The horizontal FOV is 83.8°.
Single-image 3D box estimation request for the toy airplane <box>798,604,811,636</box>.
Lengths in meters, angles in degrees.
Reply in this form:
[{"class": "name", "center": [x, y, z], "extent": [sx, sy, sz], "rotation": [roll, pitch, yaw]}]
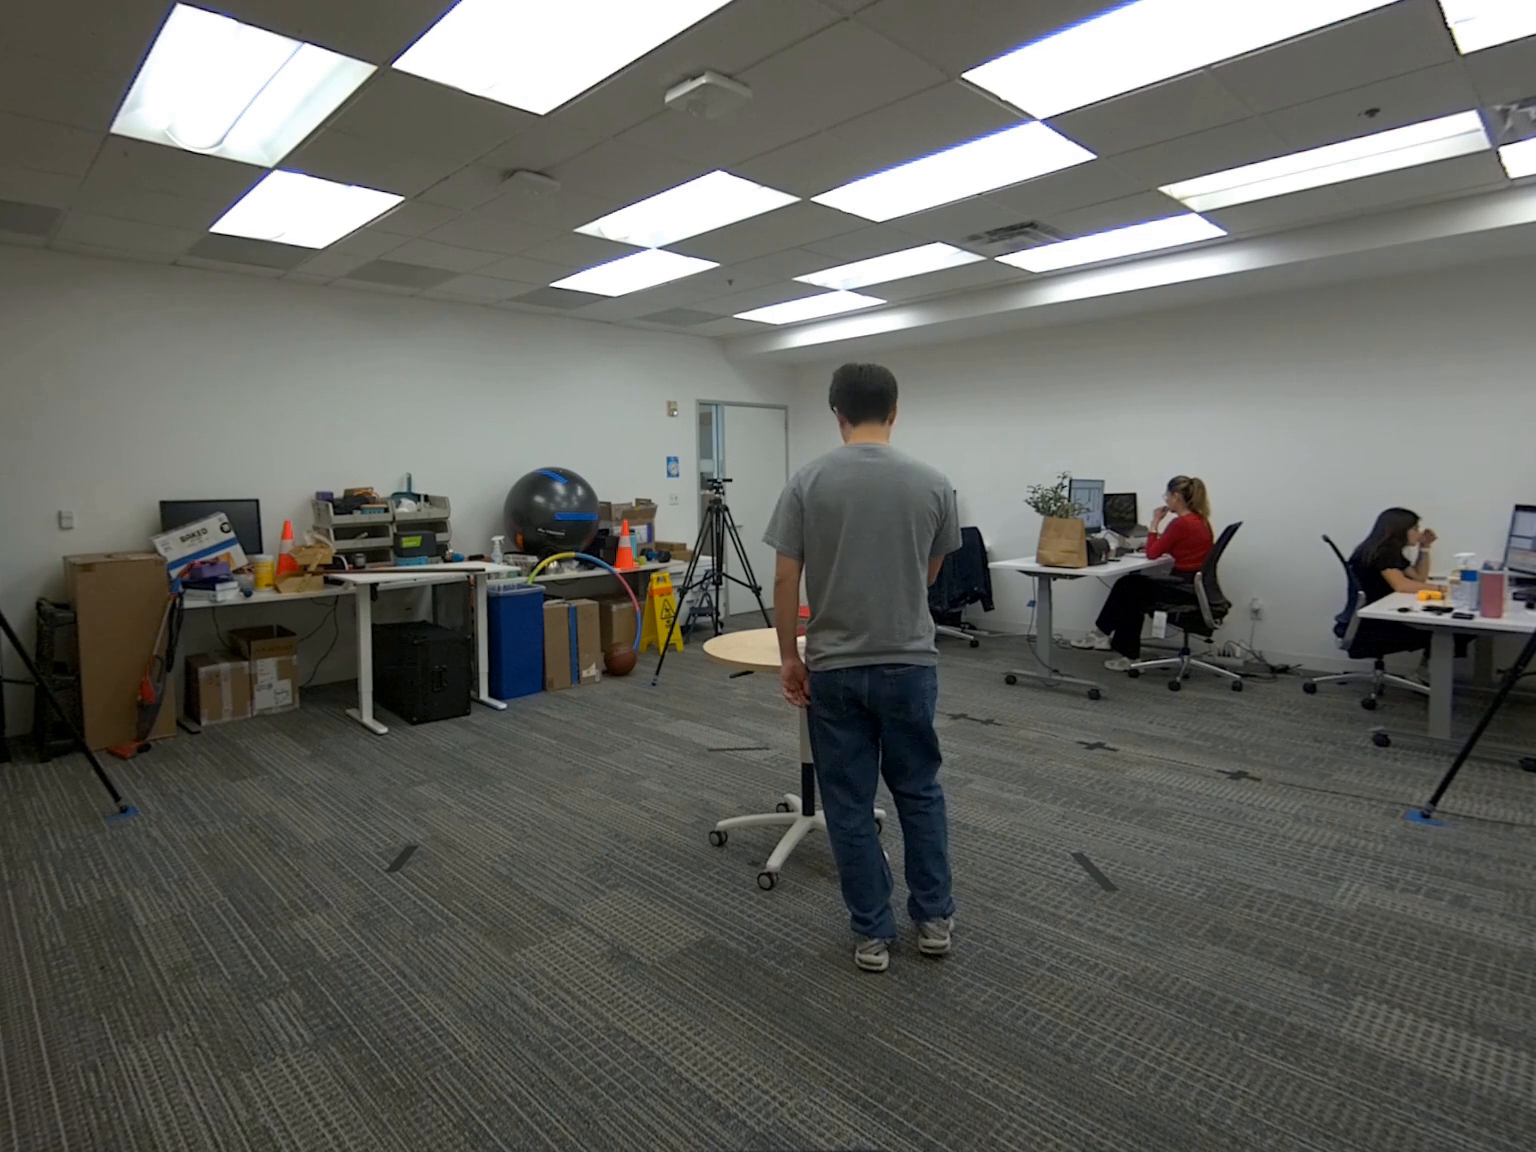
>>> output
[{"class": "toy airplane", "center": [0.216, 0.189, 3.006], "extent": [0.249, 0.156, 0.262], "rotation": [-3, 5, -9]}]
